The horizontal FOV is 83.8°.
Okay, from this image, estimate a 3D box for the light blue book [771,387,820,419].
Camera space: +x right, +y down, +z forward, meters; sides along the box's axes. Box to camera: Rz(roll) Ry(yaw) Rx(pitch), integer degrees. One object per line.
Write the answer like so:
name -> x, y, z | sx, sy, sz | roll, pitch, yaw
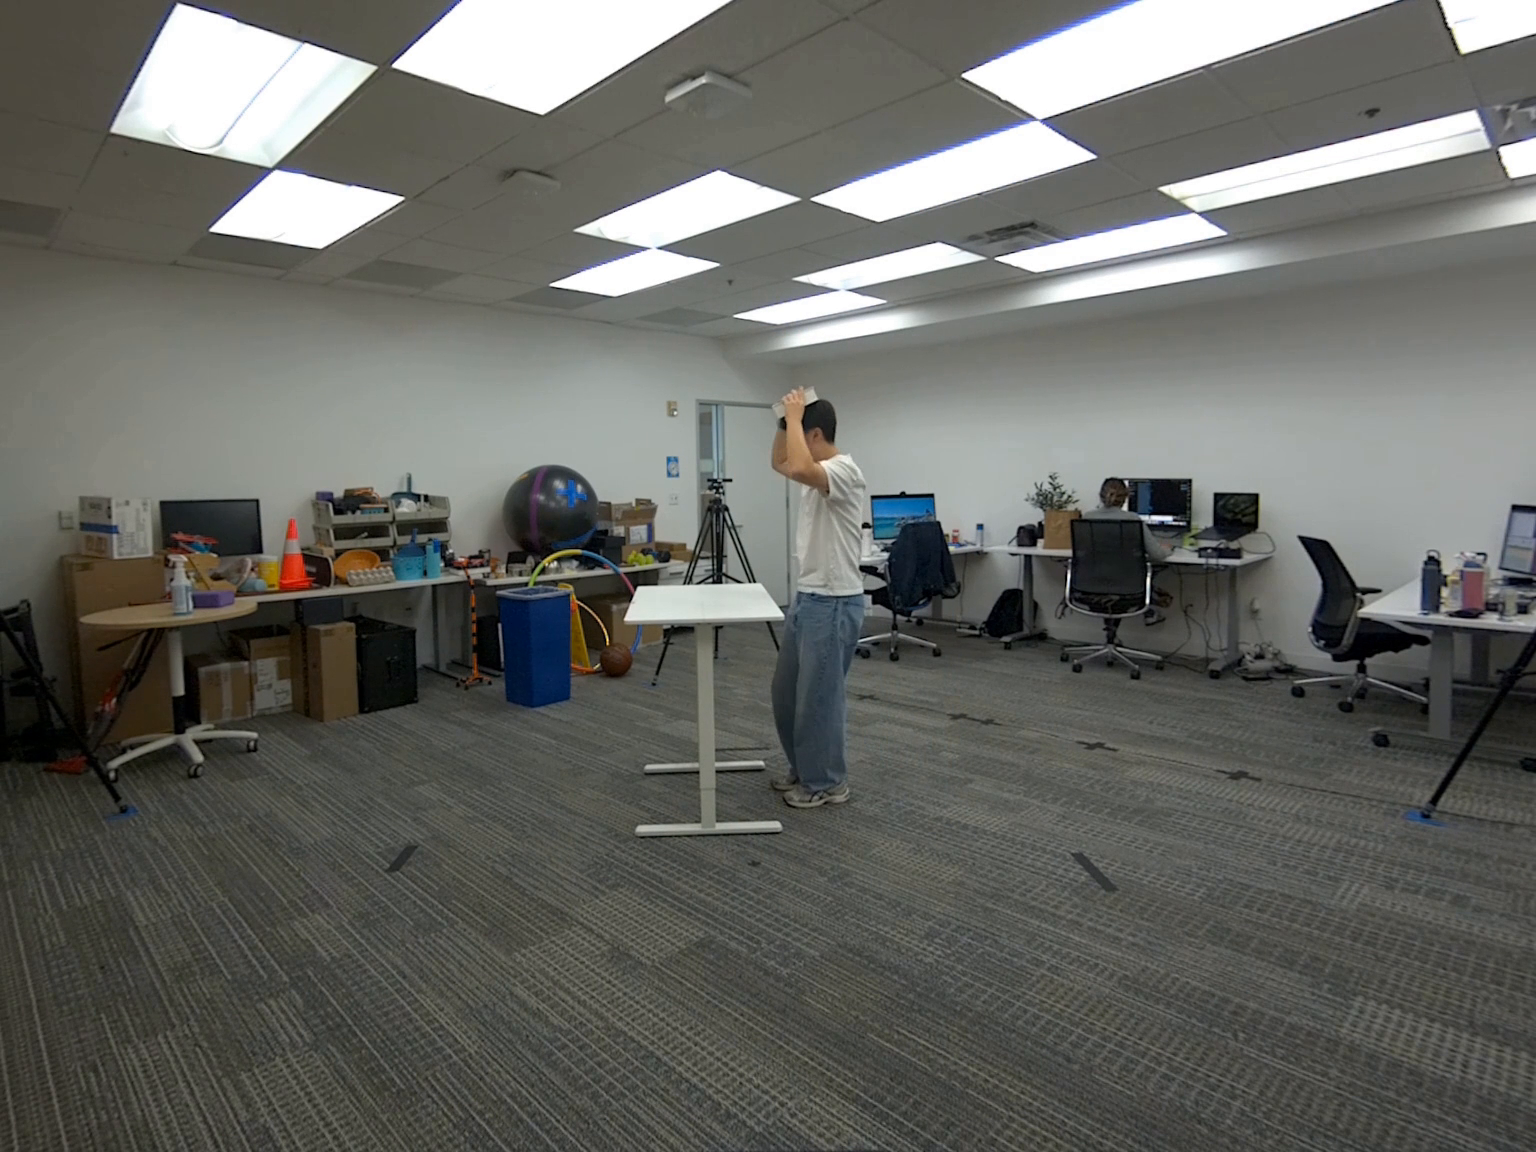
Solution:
light blue book -> 0.120, -0.733, 3.624 | 0.192, 0.058, 0.262 | -24, 9, 7
